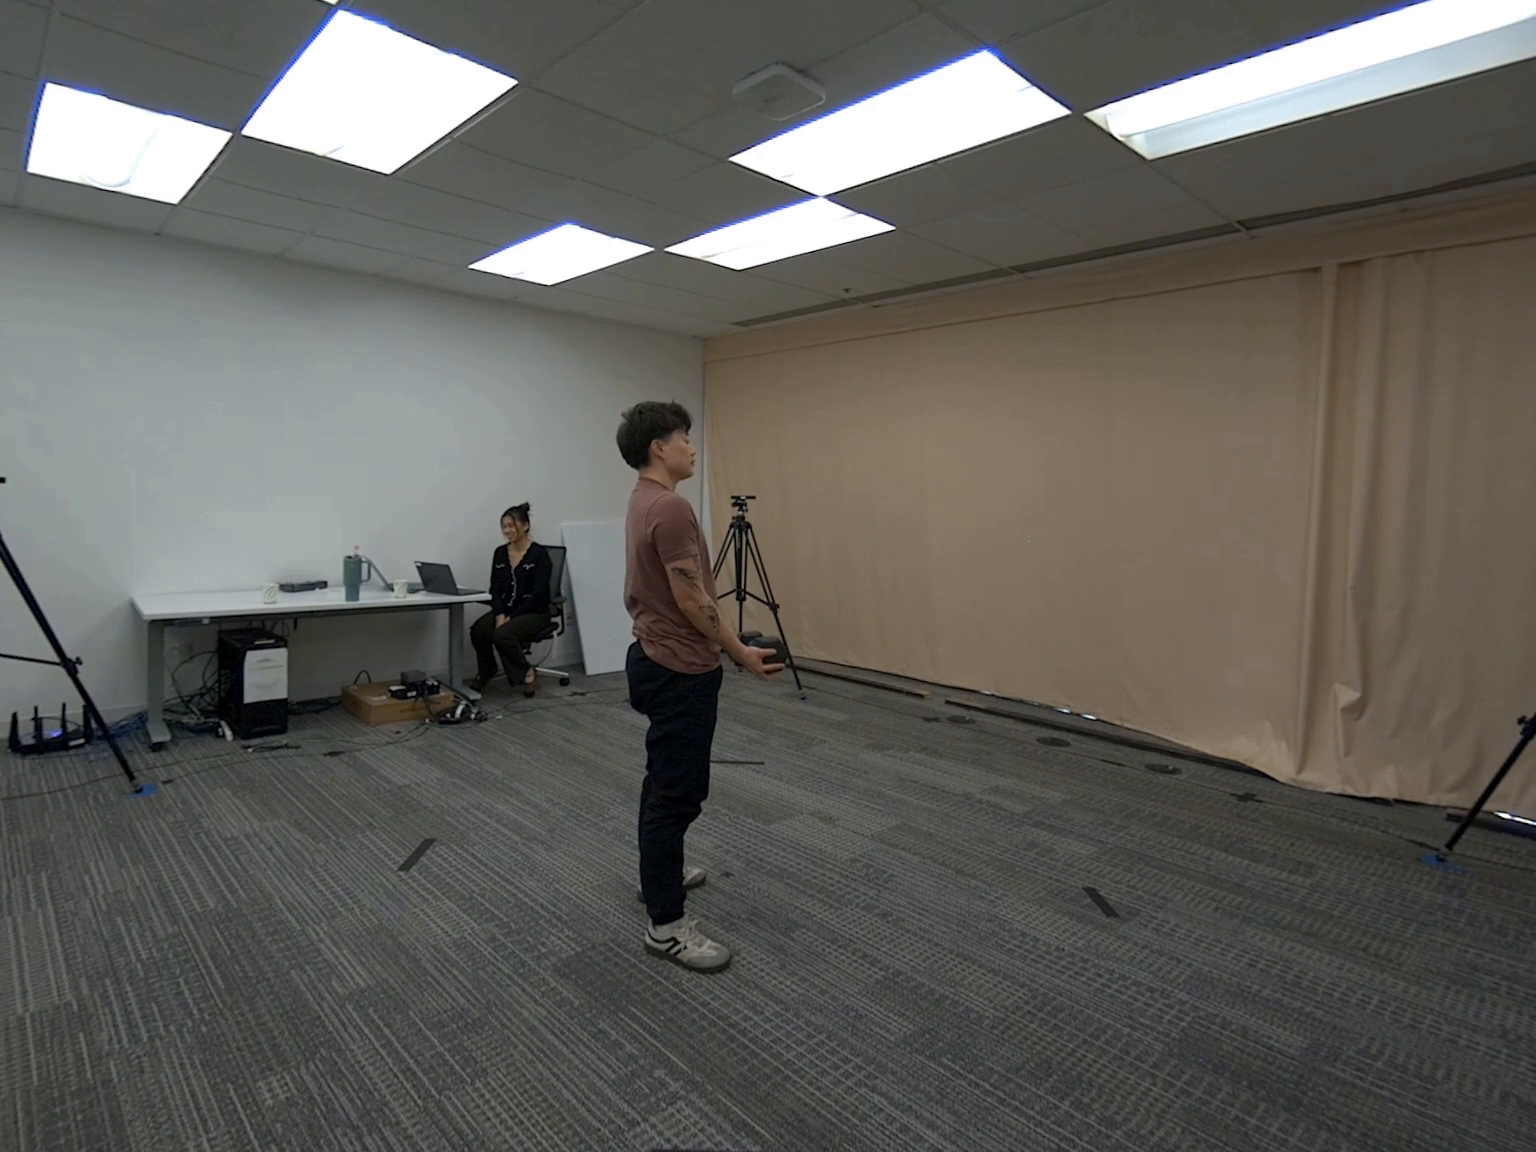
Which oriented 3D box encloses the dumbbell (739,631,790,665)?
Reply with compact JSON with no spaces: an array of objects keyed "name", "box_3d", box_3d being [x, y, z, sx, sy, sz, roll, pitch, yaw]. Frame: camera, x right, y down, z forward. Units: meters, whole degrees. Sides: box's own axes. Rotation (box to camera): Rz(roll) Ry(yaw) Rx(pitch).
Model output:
[{"name":"dumbbell","box_3d":[-0.033,0.242,2.745,0.108,0.122,0.297,-36,9,-11]}]
